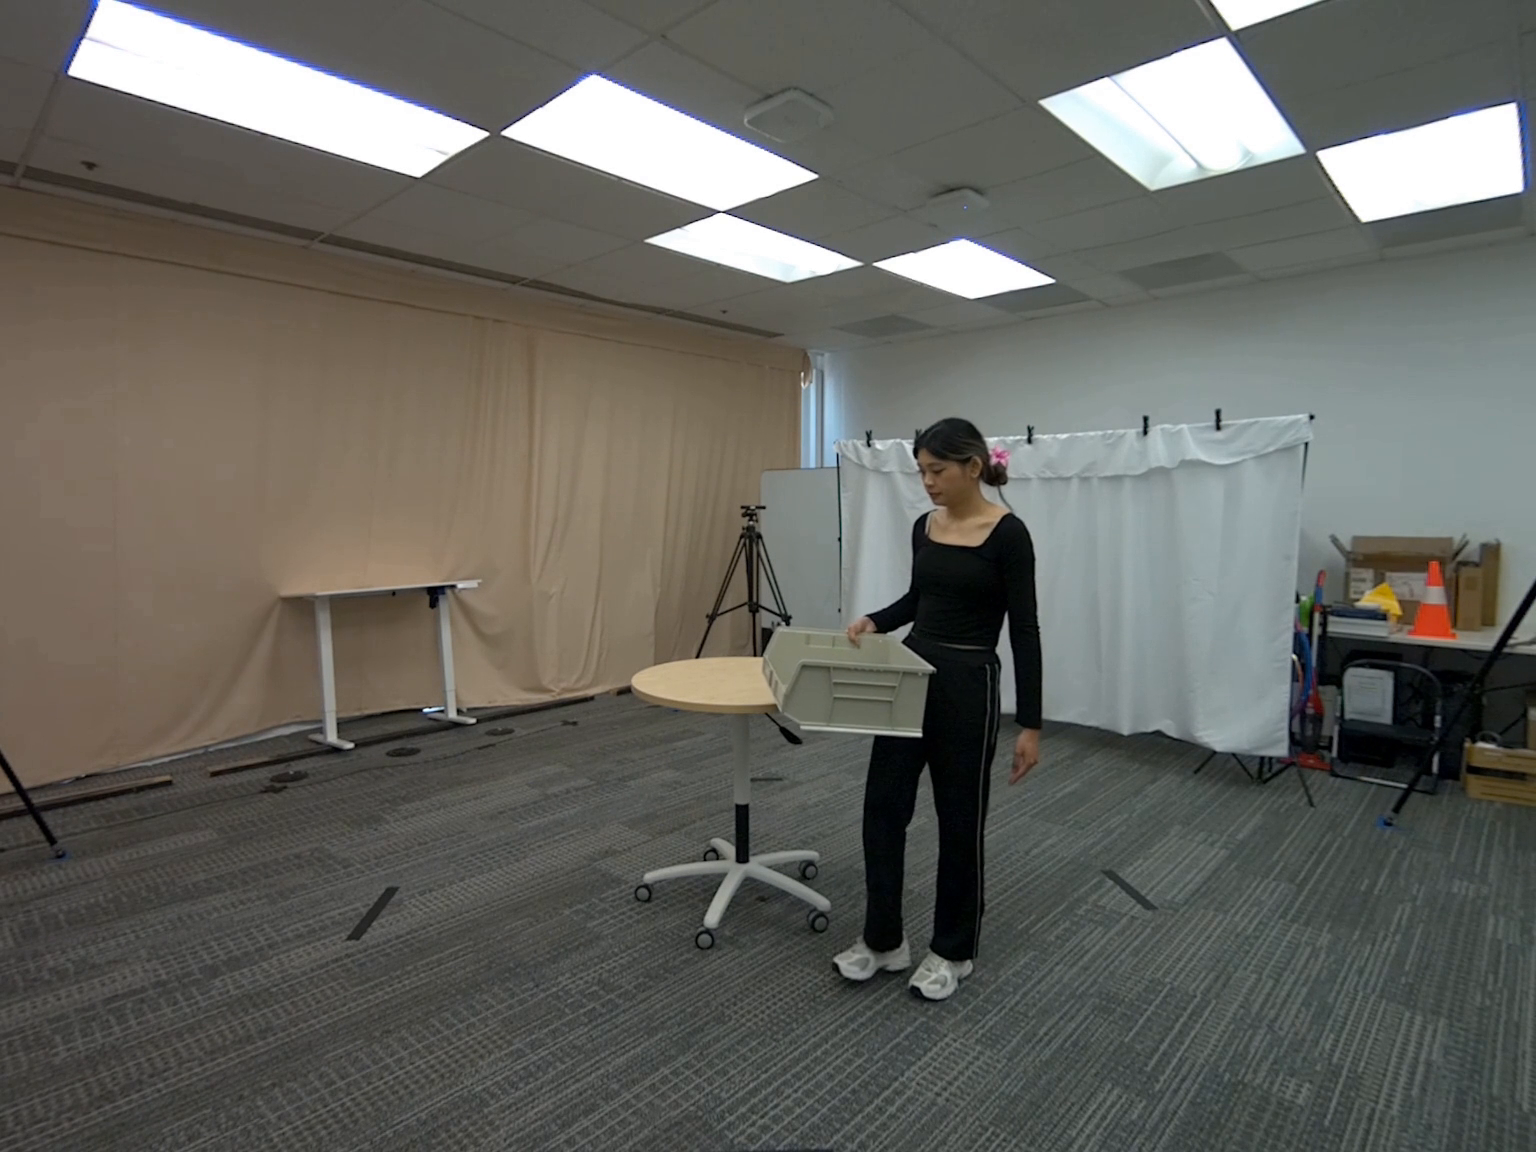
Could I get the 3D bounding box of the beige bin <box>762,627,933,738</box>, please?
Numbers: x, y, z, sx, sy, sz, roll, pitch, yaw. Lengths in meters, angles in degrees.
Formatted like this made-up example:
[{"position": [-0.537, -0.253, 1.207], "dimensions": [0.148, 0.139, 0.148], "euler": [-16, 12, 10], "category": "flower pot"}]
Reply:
[{"position": [0.192, 0.284, 2.297], "dimensions": [0.376, 0.188, 0.425], "euler": [5, 6, -5], "category": "beige bin"}]
